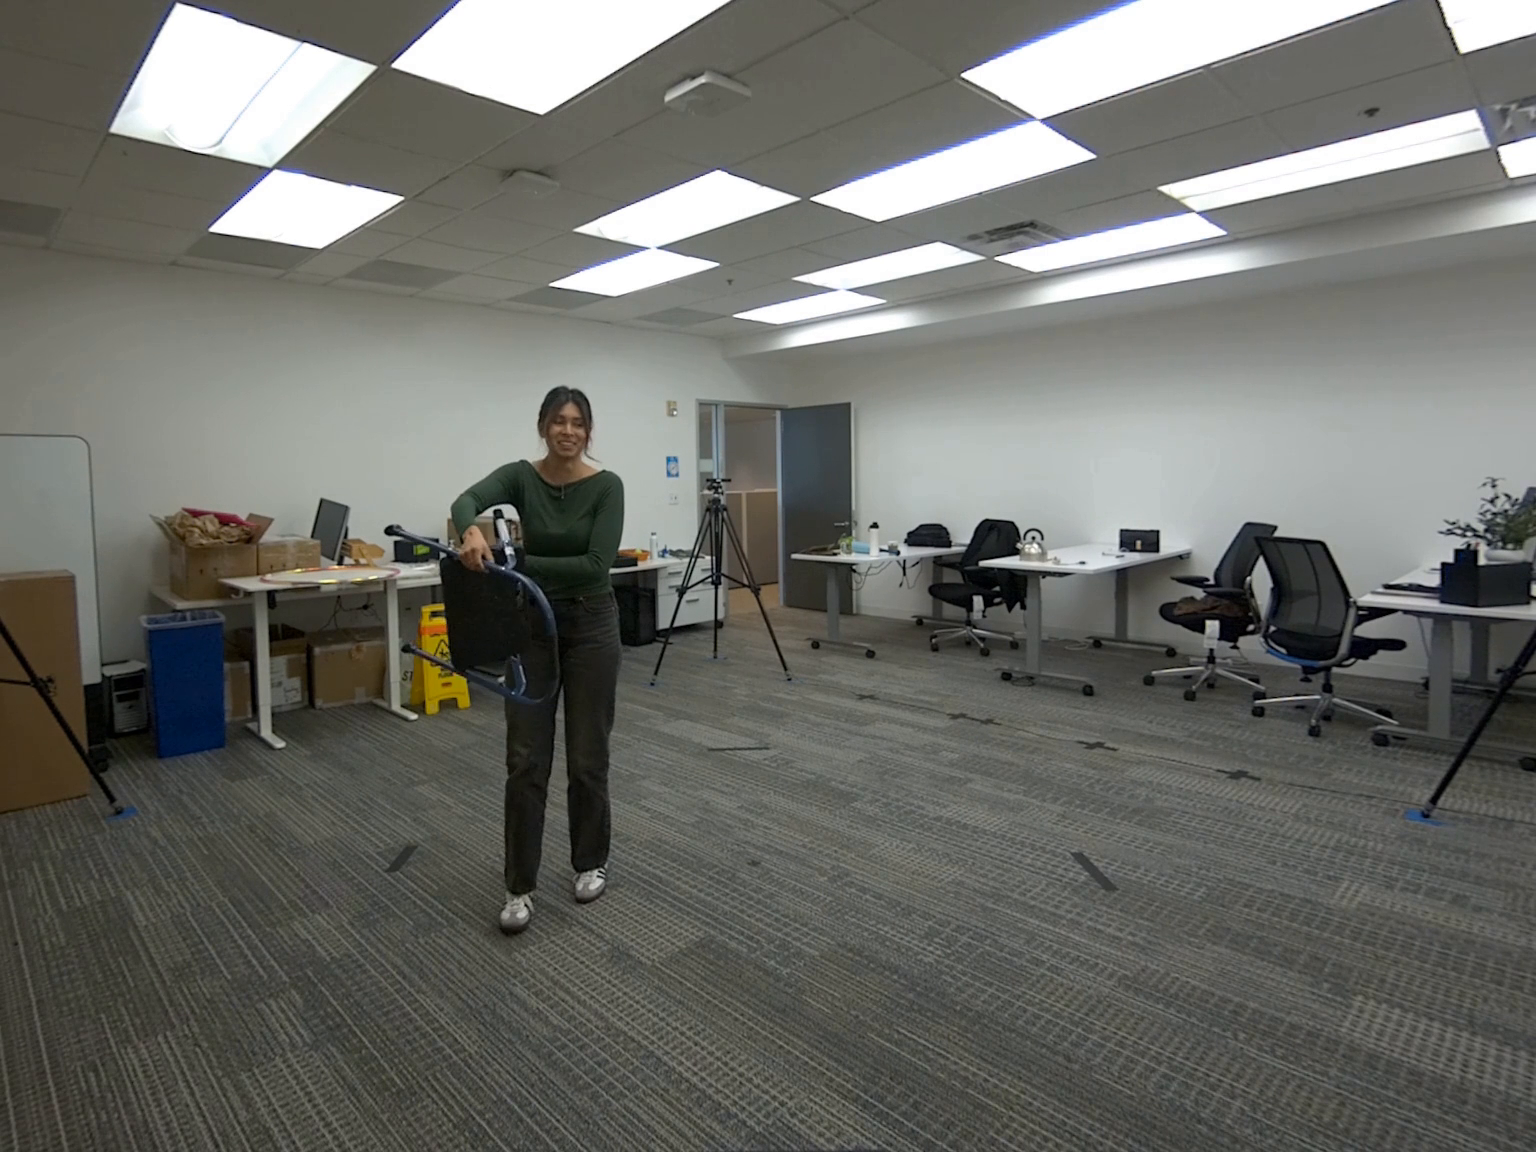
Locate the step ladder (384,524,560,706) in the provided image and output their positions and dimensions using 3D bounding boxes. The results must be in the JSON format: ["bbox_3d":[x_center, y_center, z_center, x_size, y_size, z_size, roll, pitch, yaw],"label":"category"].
[{"bbox_3d":[-0.810,0.116,2.442,0.343,0.422,0.629,-17,29,-31],"label":"step ladder"}]
